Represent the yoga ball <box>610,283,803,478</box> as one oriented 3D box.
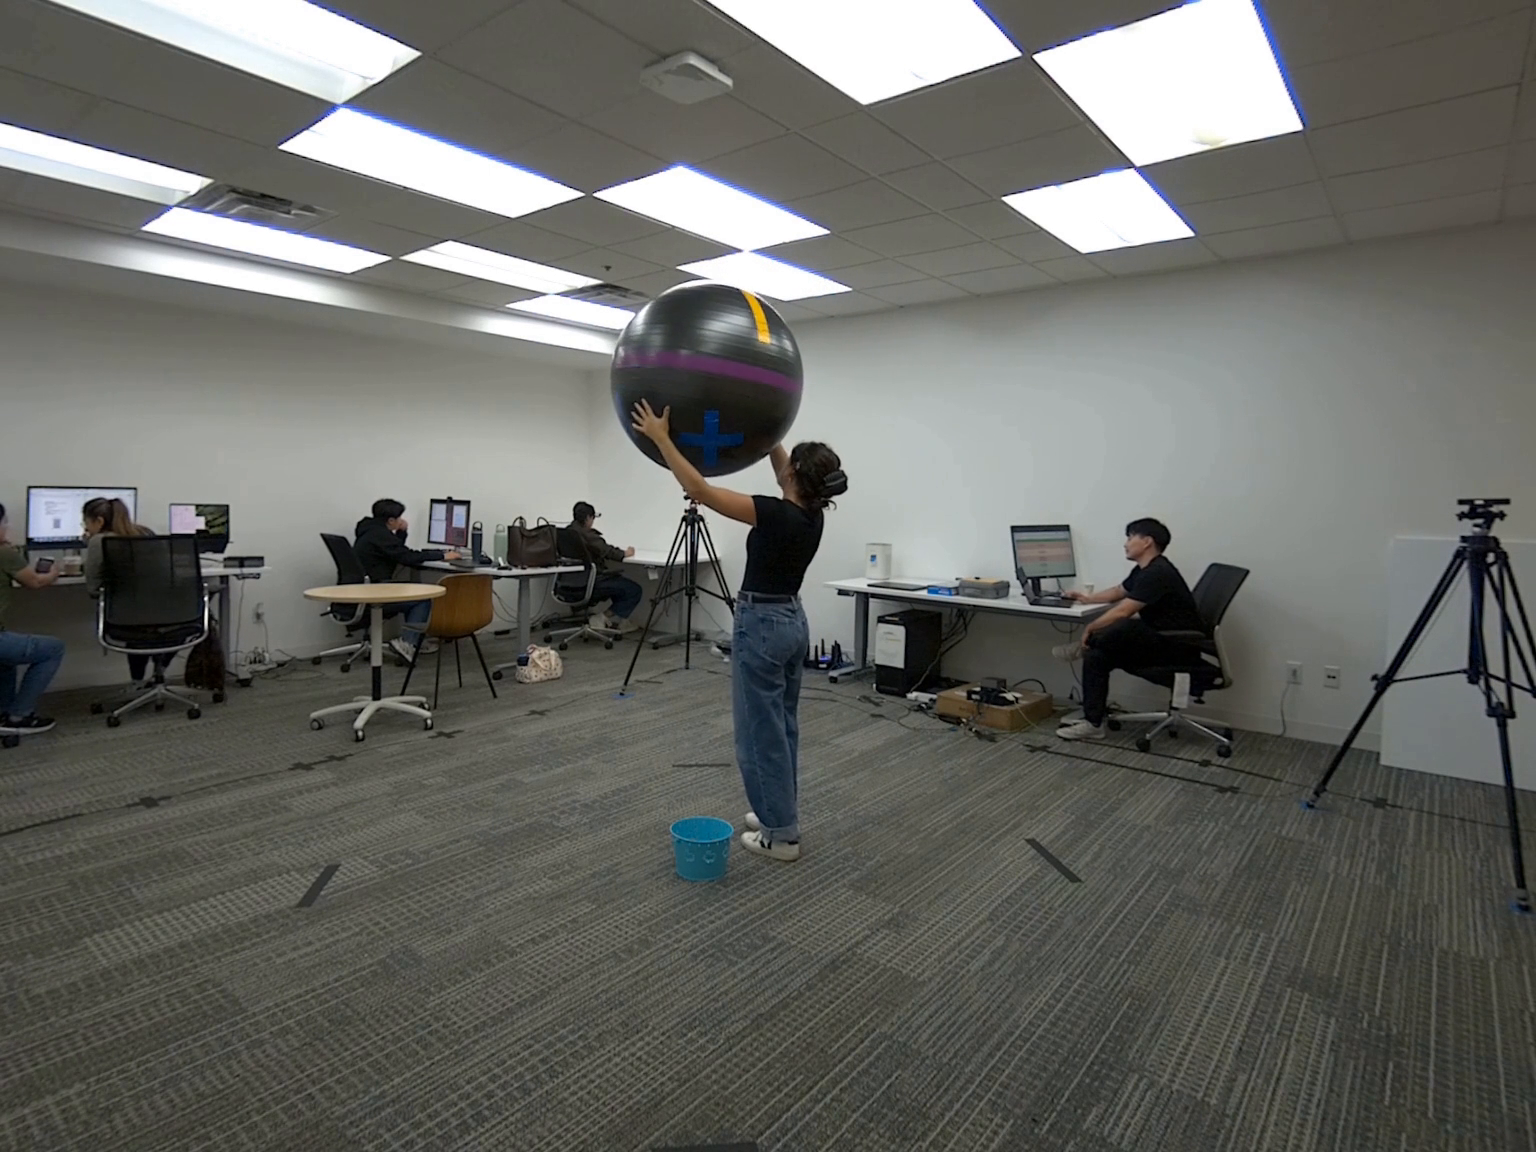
[{"bbox_3d":[-0.247,-0.772,3.357,0.757,0.756,0.762,1,4,-2],"label":"yoga ball"}]
